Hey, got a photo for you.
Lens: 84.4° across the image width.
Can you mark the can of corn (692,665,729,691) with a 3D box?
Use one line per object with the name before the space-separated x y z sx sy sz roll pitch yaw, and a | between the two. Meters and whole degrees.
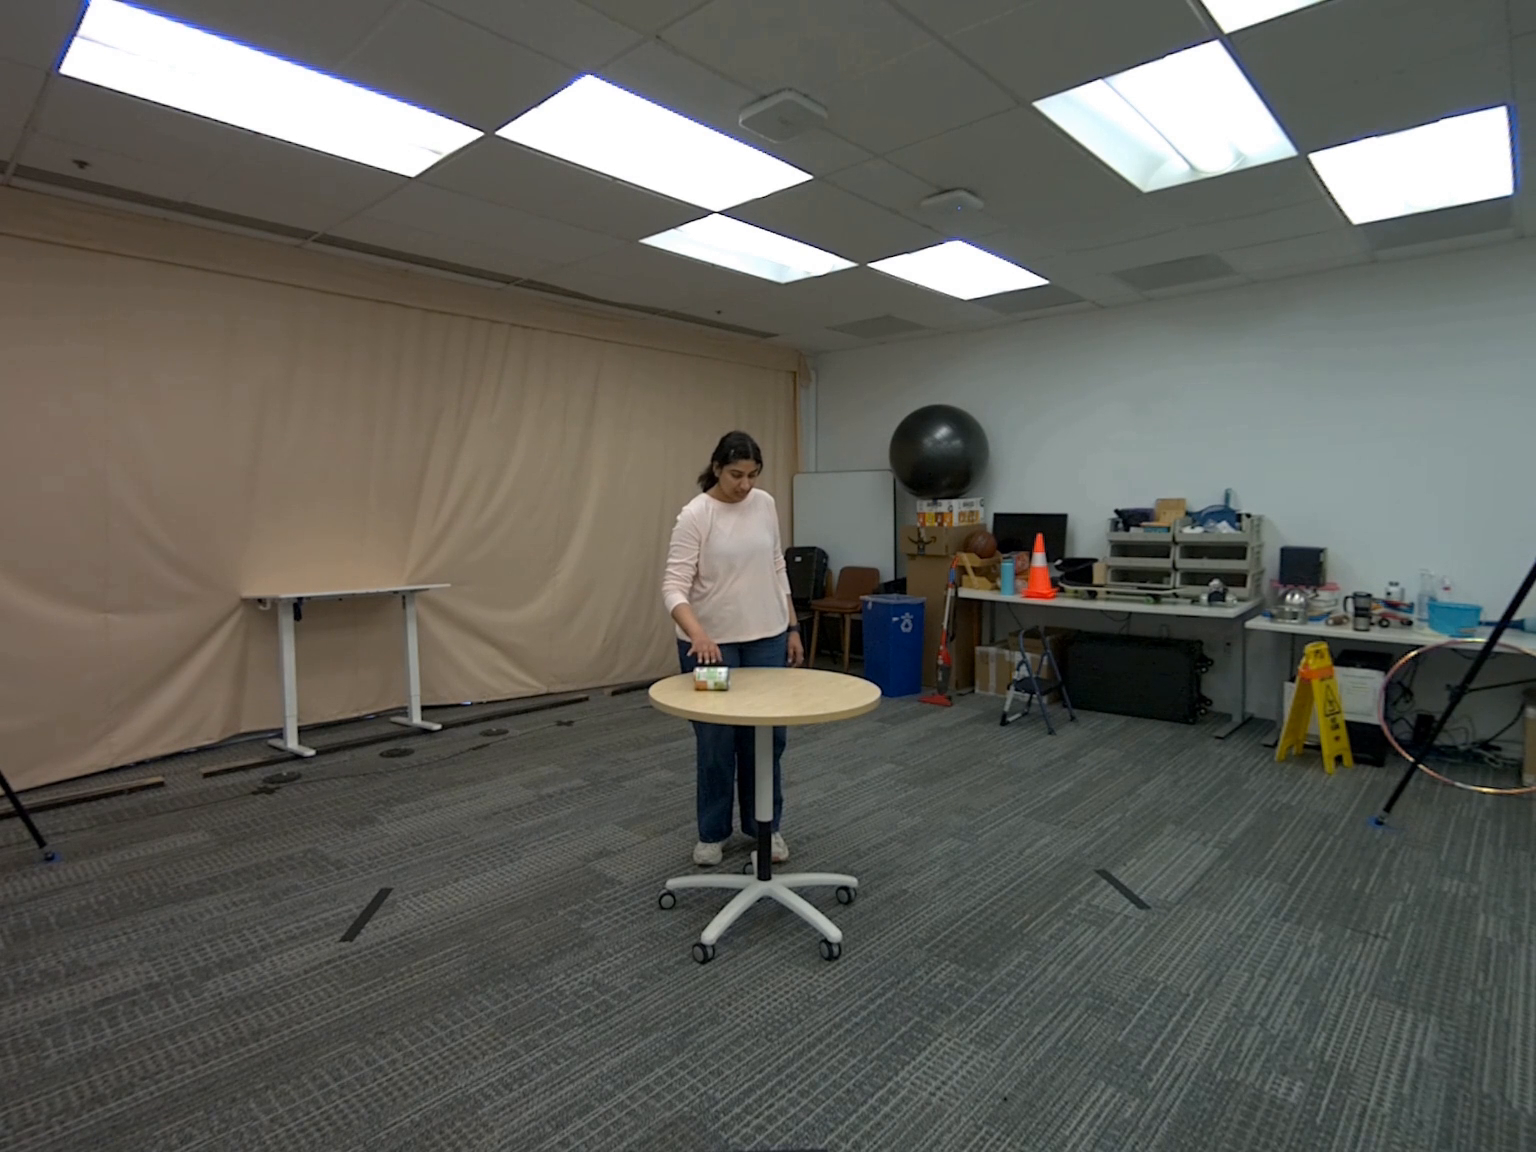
can of corn | -0.183 0.334 2.793 0.111 0.074 0.074 -2 4 3
